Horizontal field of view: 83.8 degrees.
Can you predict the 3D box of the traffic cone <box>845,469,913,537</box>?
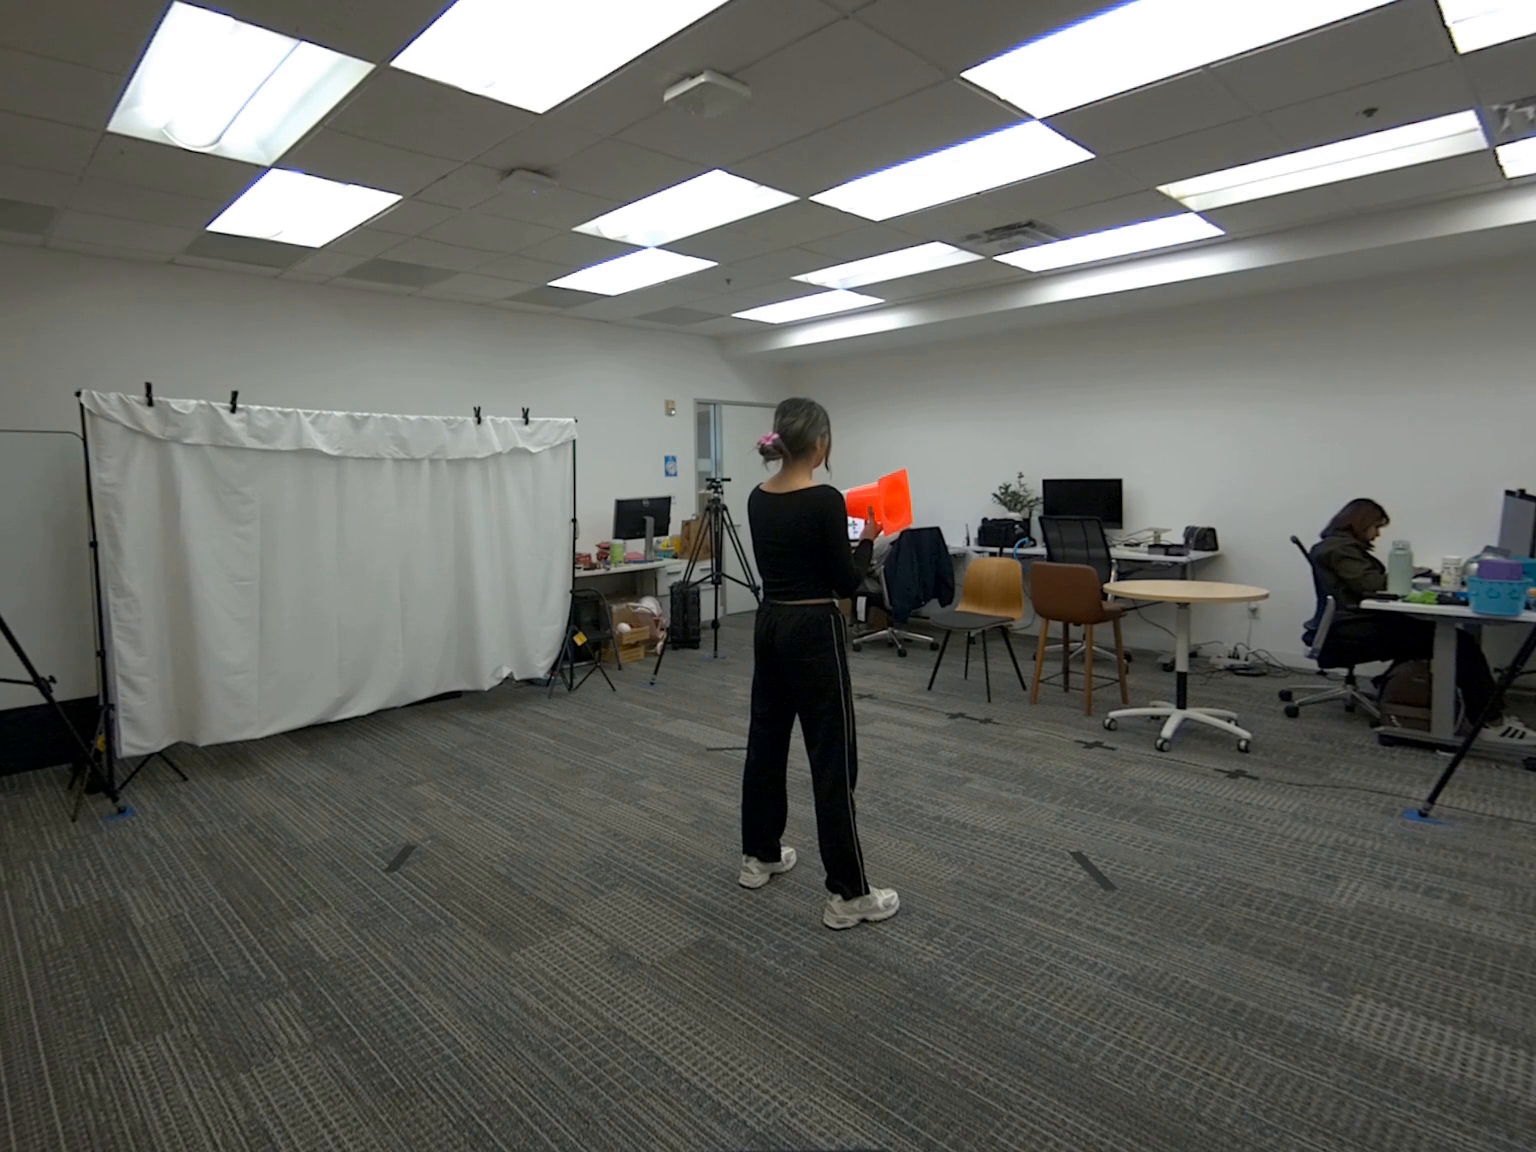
[{"bbox_3d":[0.292,-0.260,3.008,0.395,0.202,0.200,4,18,40],"label":"traffic cone"}]
